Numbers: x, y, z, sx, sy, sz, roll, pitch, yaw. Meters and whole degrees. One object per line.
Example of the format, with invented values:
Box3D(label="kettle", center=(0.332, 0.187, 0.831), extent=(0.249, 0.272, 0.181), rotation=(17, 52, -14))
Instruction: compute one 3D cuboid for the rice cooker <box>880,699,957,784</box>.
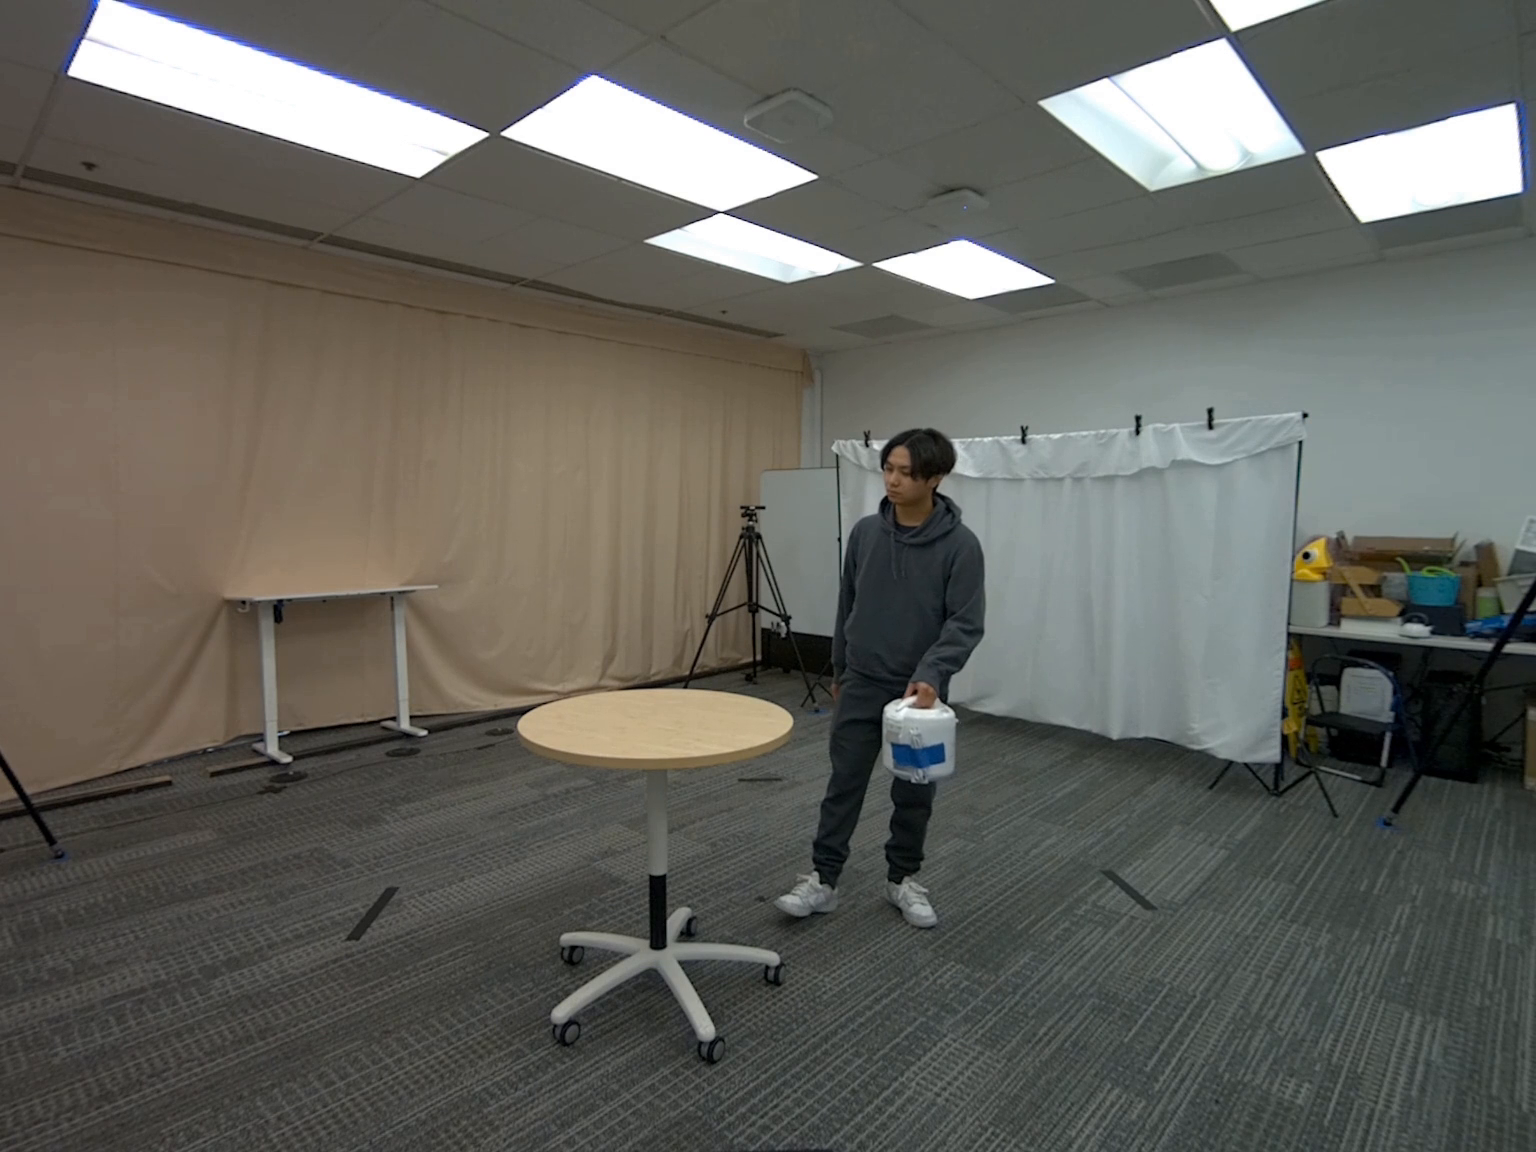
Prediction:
Box3D(label="rice cooker", center=(0.445, 0.464, 2.478), extent=(0.214, 0.232, 0.224), rotation=(-1, 4, -34))
